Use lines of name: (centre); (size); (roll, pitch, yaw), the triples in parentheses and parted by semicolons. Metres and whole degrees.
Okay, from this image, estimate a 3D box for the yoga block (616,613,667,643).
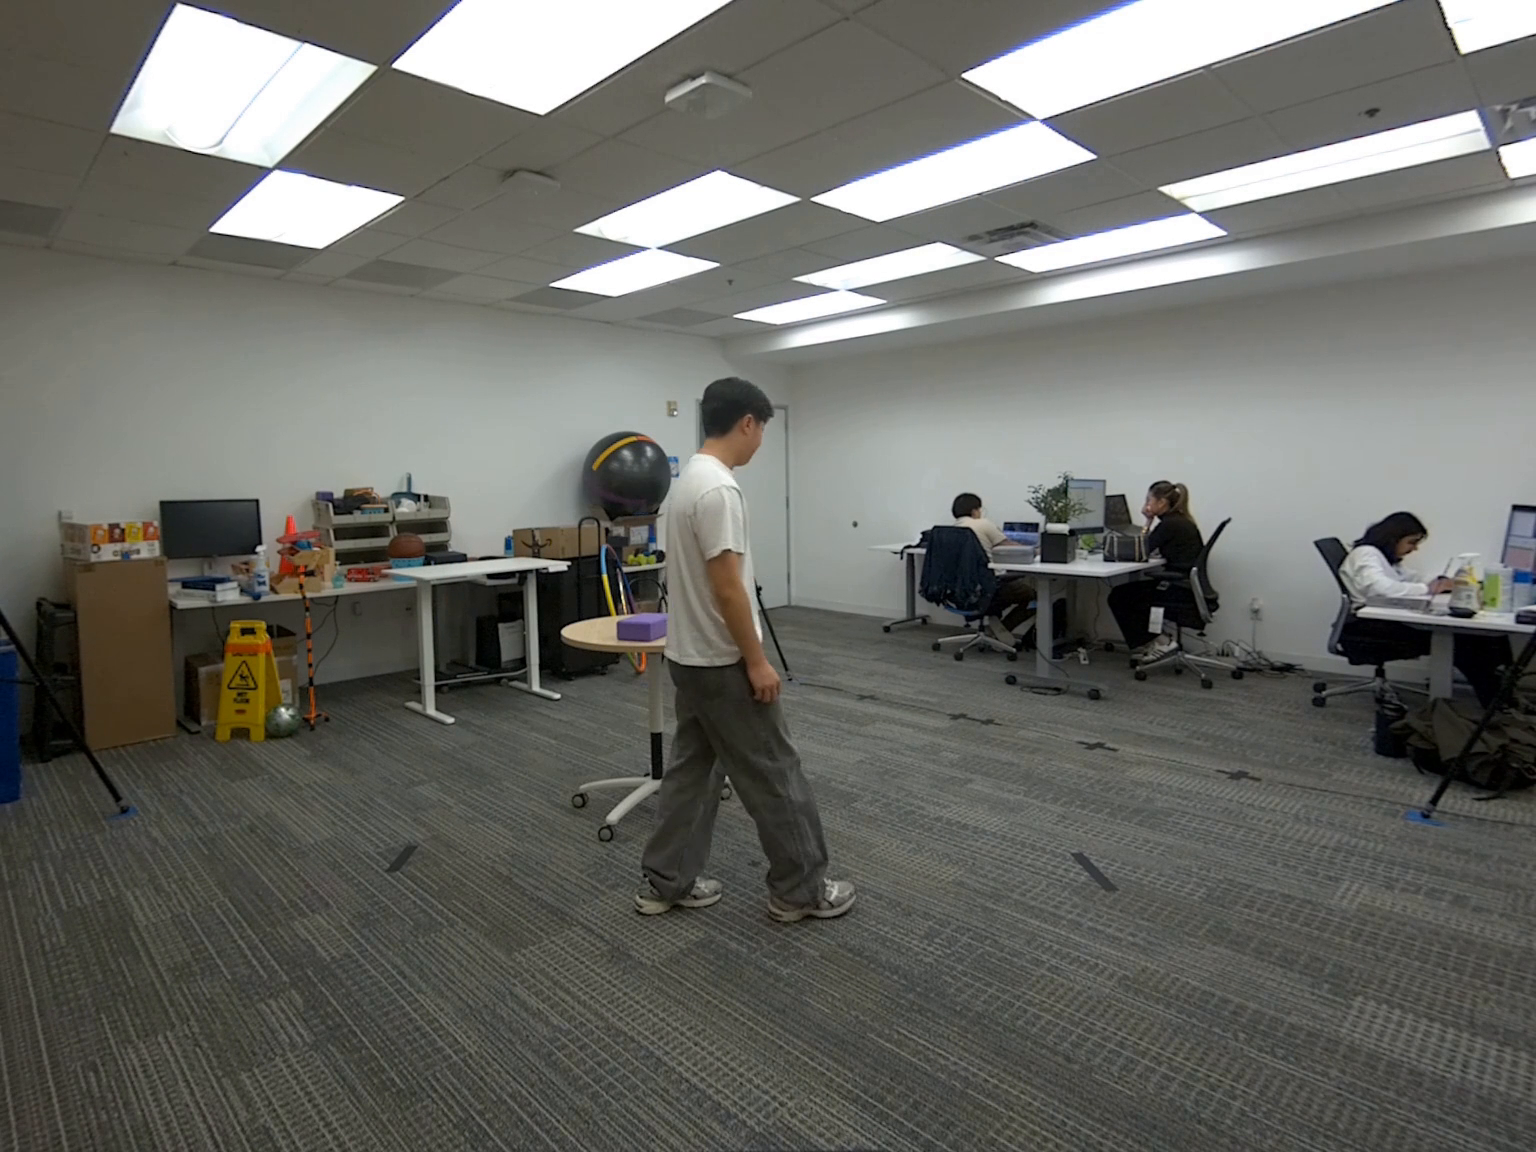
yoga block: (-0.483, 0.201, 3.394); (0.152, 0.076, 0.226); (1, 6, 19)
